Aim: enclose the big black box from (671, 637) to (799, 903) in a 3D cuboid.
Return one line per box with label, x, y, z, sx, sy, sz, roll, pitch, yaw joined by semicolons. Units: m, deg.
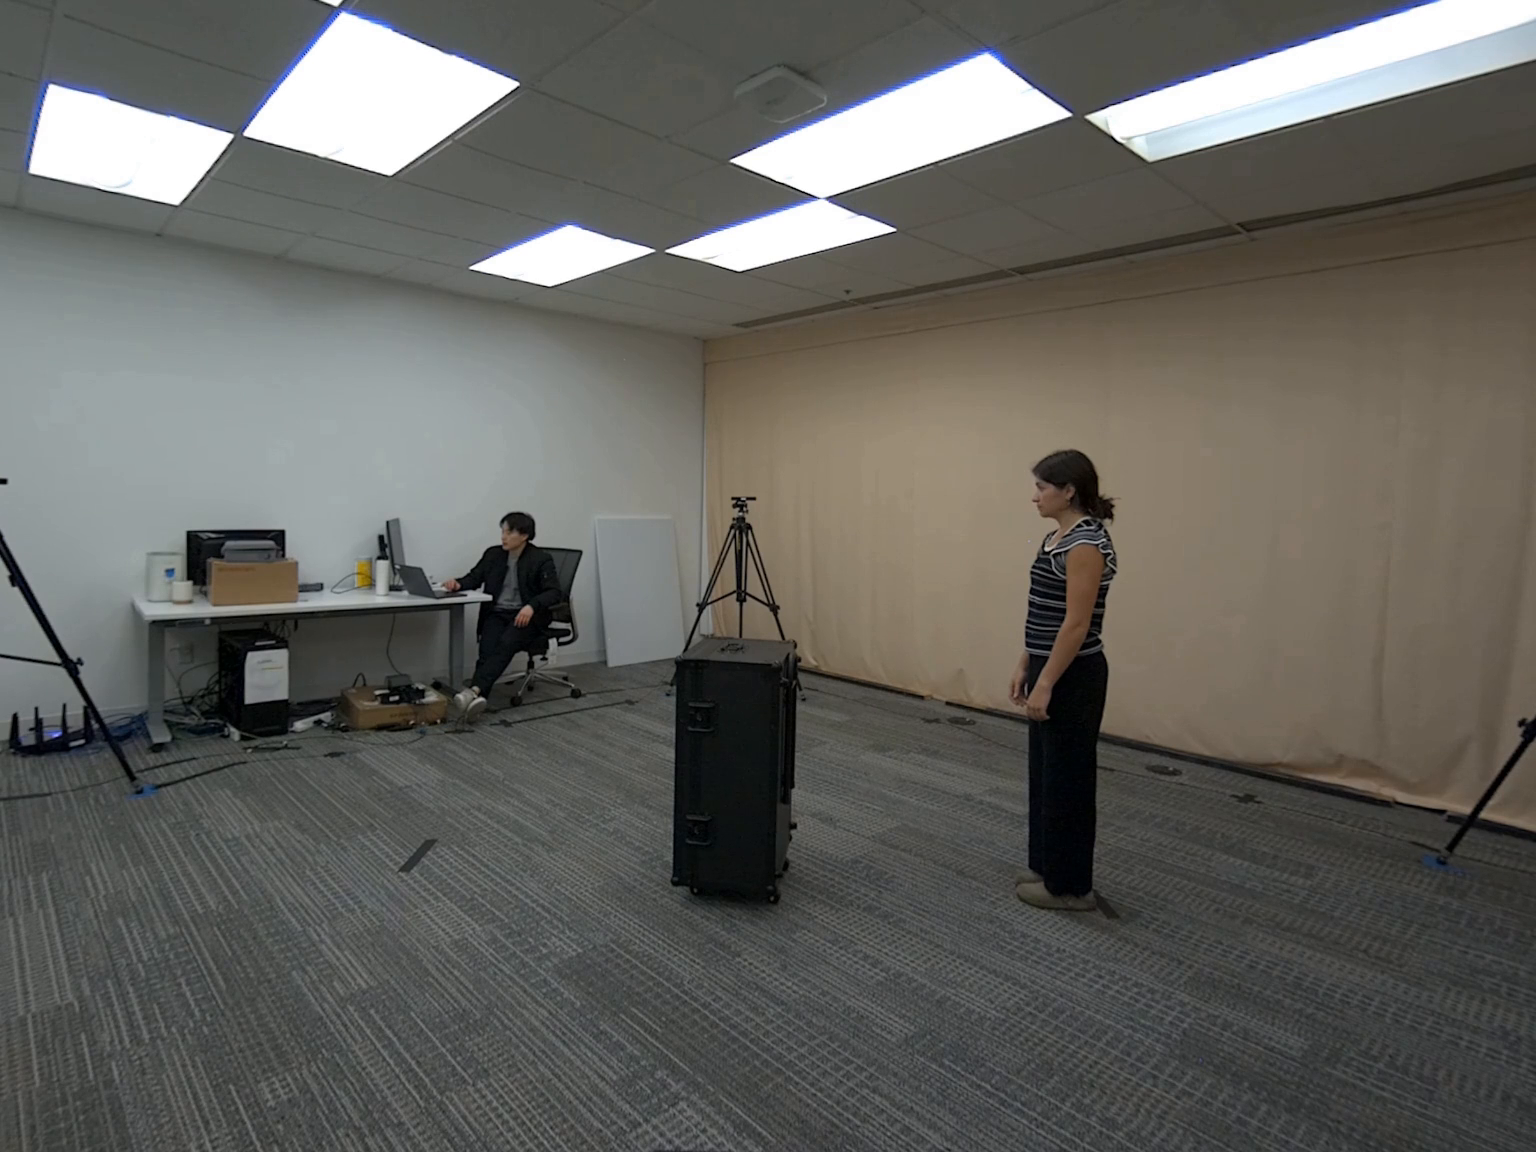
big black box;-0.102;0.682;3.049;0.400;0.860;0.518;2;3;10
